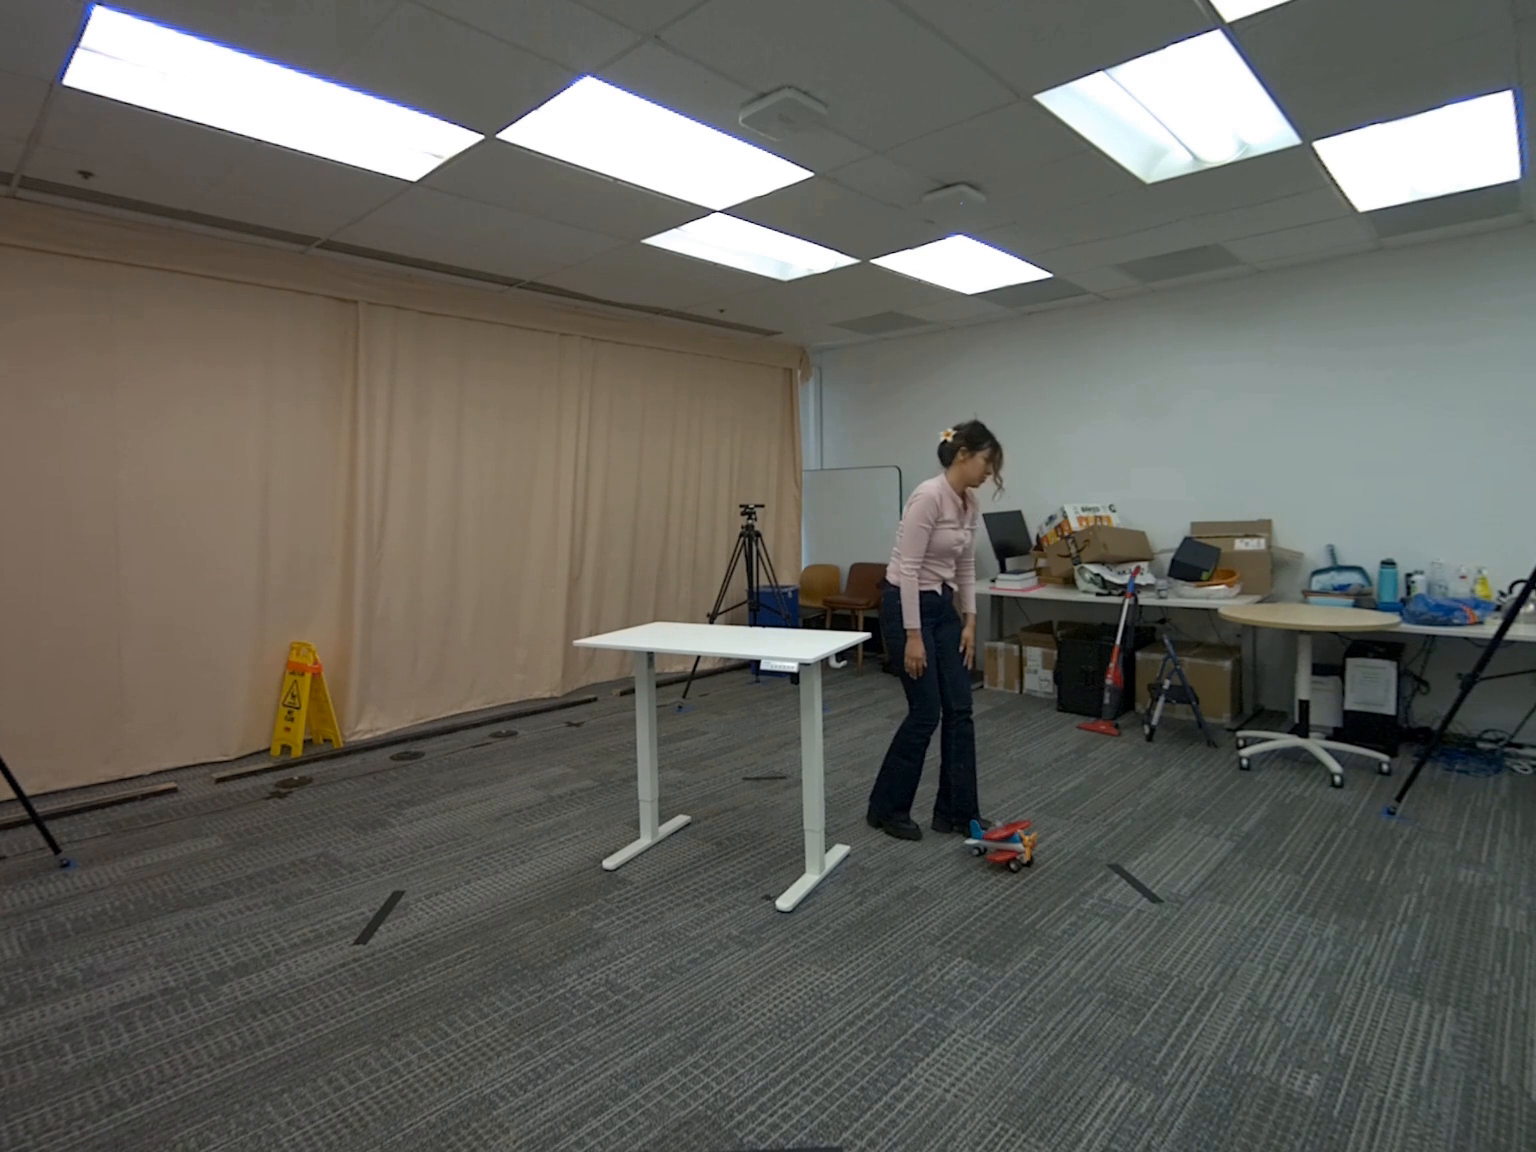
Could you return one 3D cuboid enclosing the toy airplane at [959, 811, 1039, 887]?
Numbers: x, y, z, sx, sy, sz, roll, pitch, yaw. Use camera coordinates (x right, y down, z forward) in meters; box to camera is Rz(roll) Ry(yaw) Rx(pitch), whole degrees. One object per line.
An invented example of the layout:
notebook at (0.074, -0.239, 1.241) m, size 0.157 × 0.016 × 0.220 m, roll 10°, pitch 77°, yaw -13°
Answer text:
toy airplane at (0.878, 1.025, 3.220) m, size 0.265 × 0.156 × 0.246 m, roll 3°, pitch 5°, yaw 22°
